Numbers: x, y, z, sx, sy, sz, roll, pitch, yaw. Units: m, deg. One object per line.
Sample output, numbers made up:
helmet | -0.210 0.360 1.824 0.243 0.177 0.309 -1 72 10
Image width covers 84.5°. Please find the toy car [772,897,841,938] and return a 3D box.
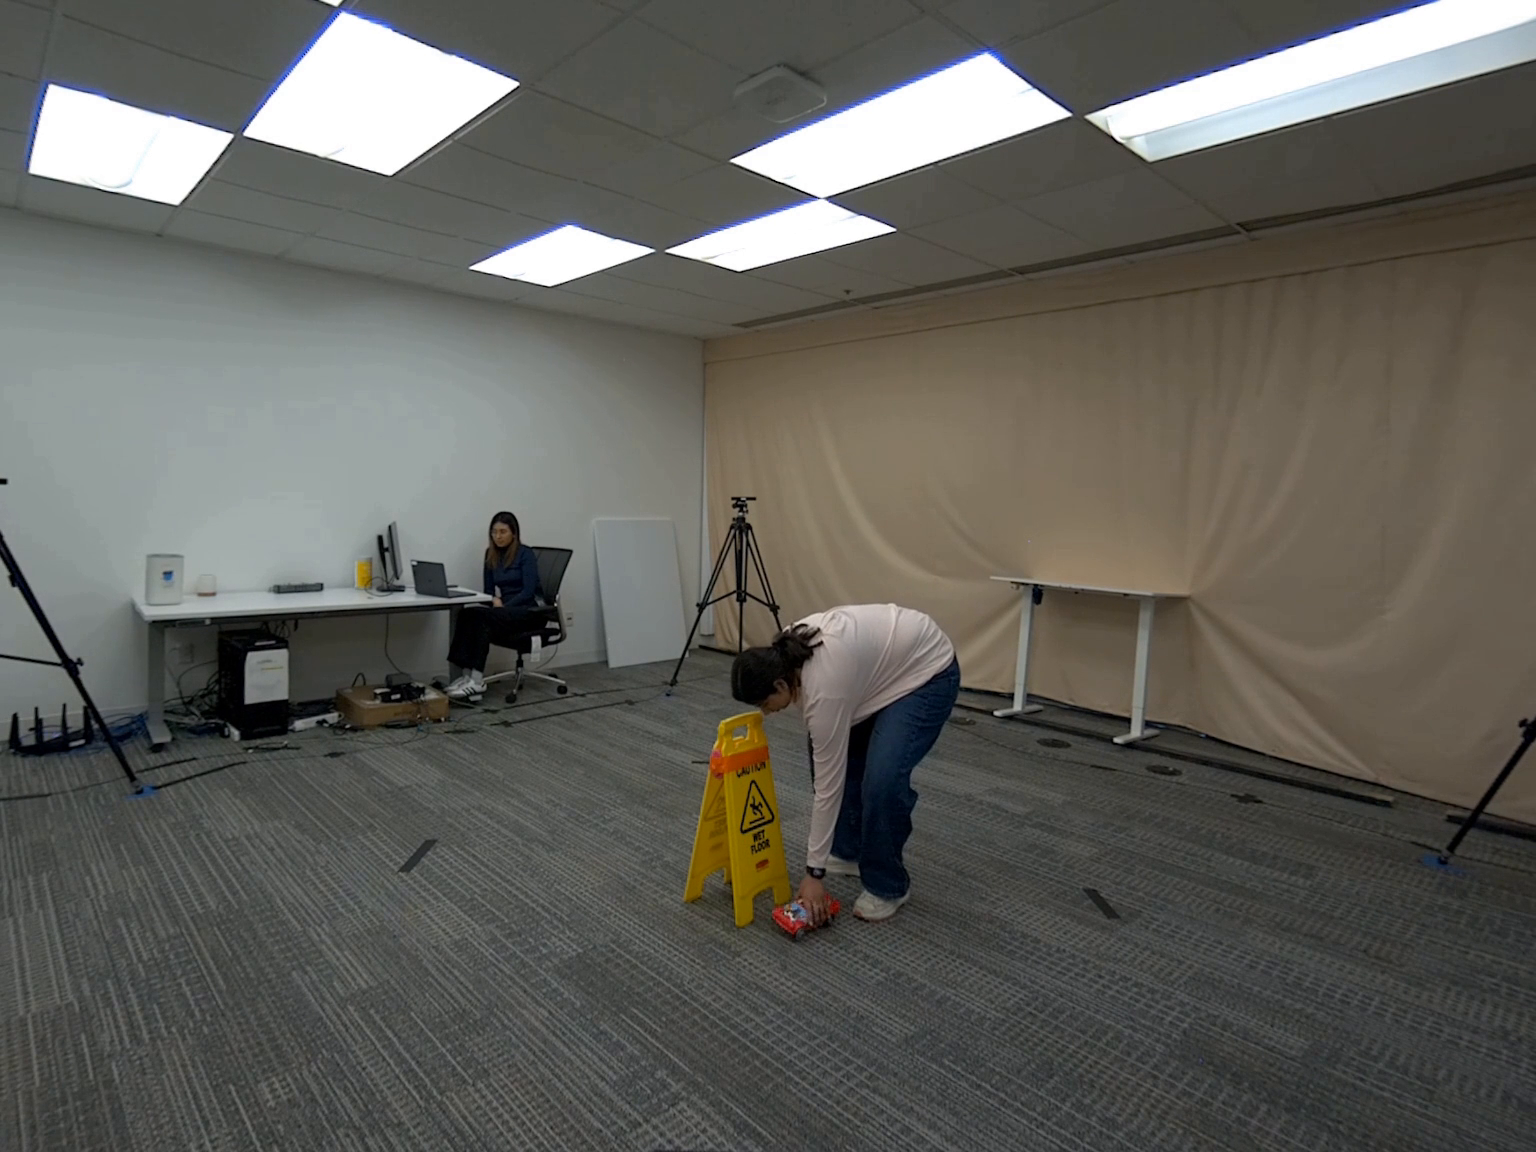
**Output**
toy car | 0.123 1.095 2.732 0.249 0.082 0.134 -10 19 -43
